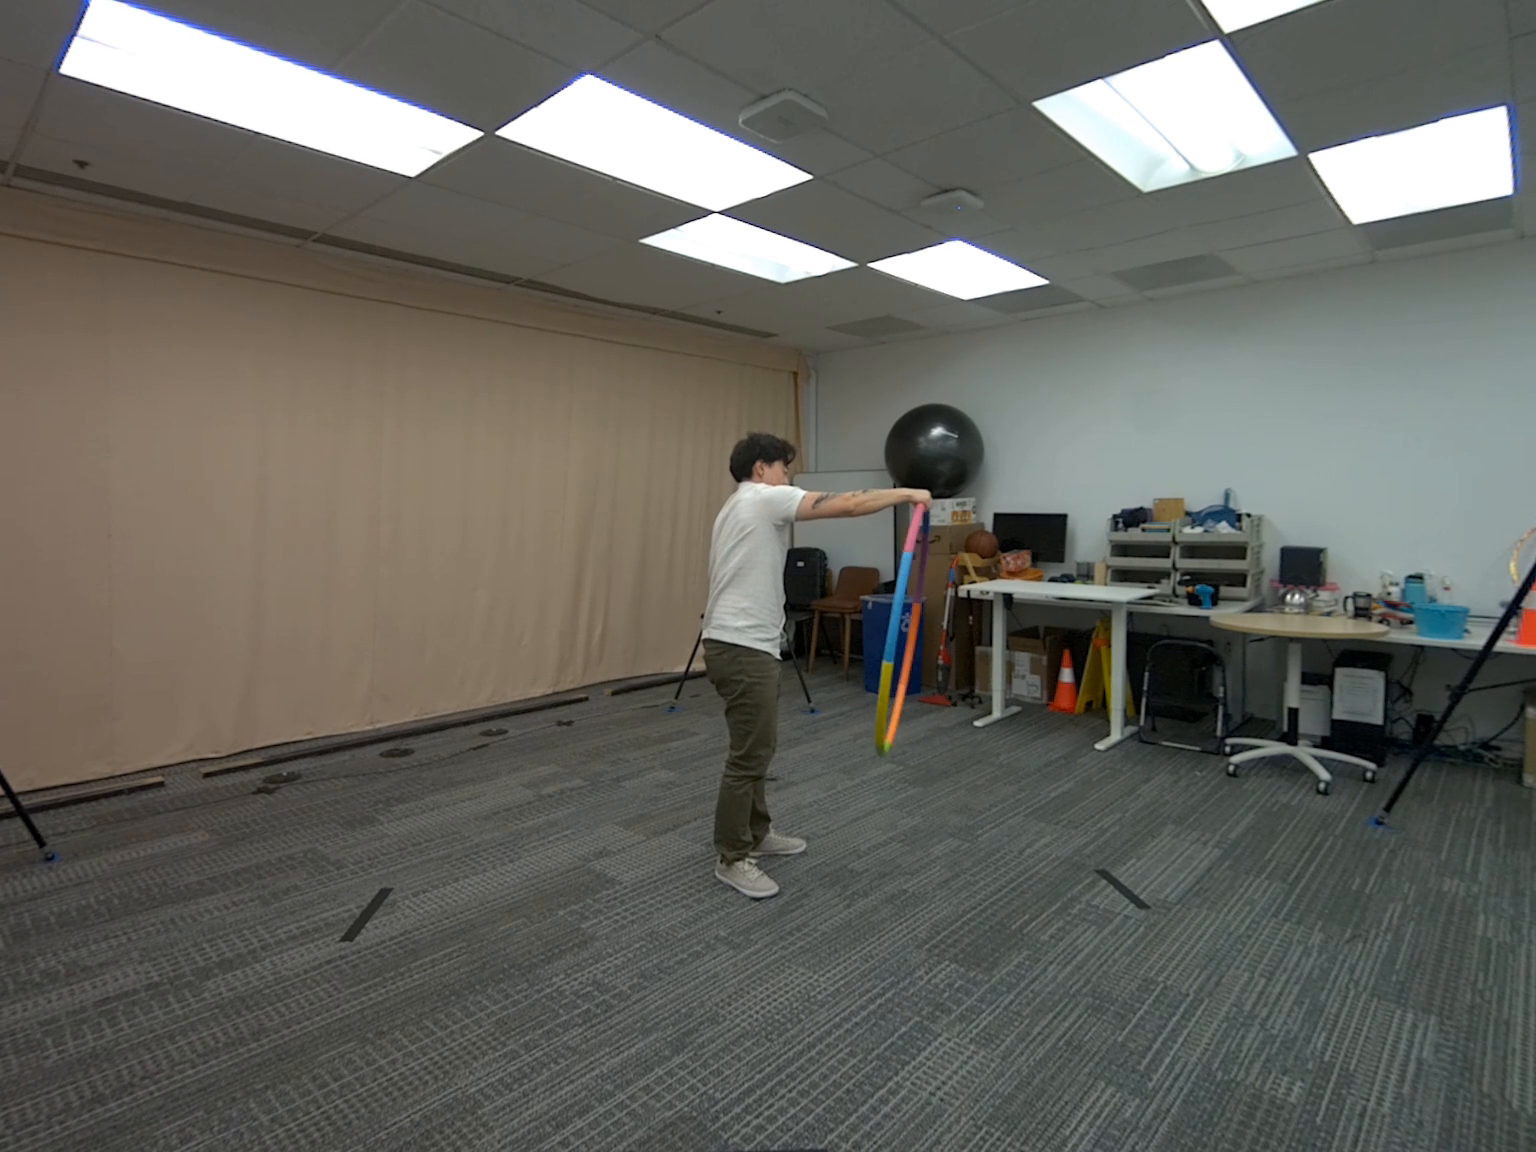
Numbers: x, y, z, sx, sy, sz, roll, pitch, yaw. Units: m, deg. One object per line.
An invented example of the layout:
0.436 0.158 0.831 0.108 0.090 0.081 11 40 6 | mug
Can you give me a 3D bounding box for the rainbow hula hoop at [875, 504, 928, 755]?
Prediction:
0.532 0.198 3.221 0.036 0.976 0.963 10 6 15 | rainbow hula hoop
